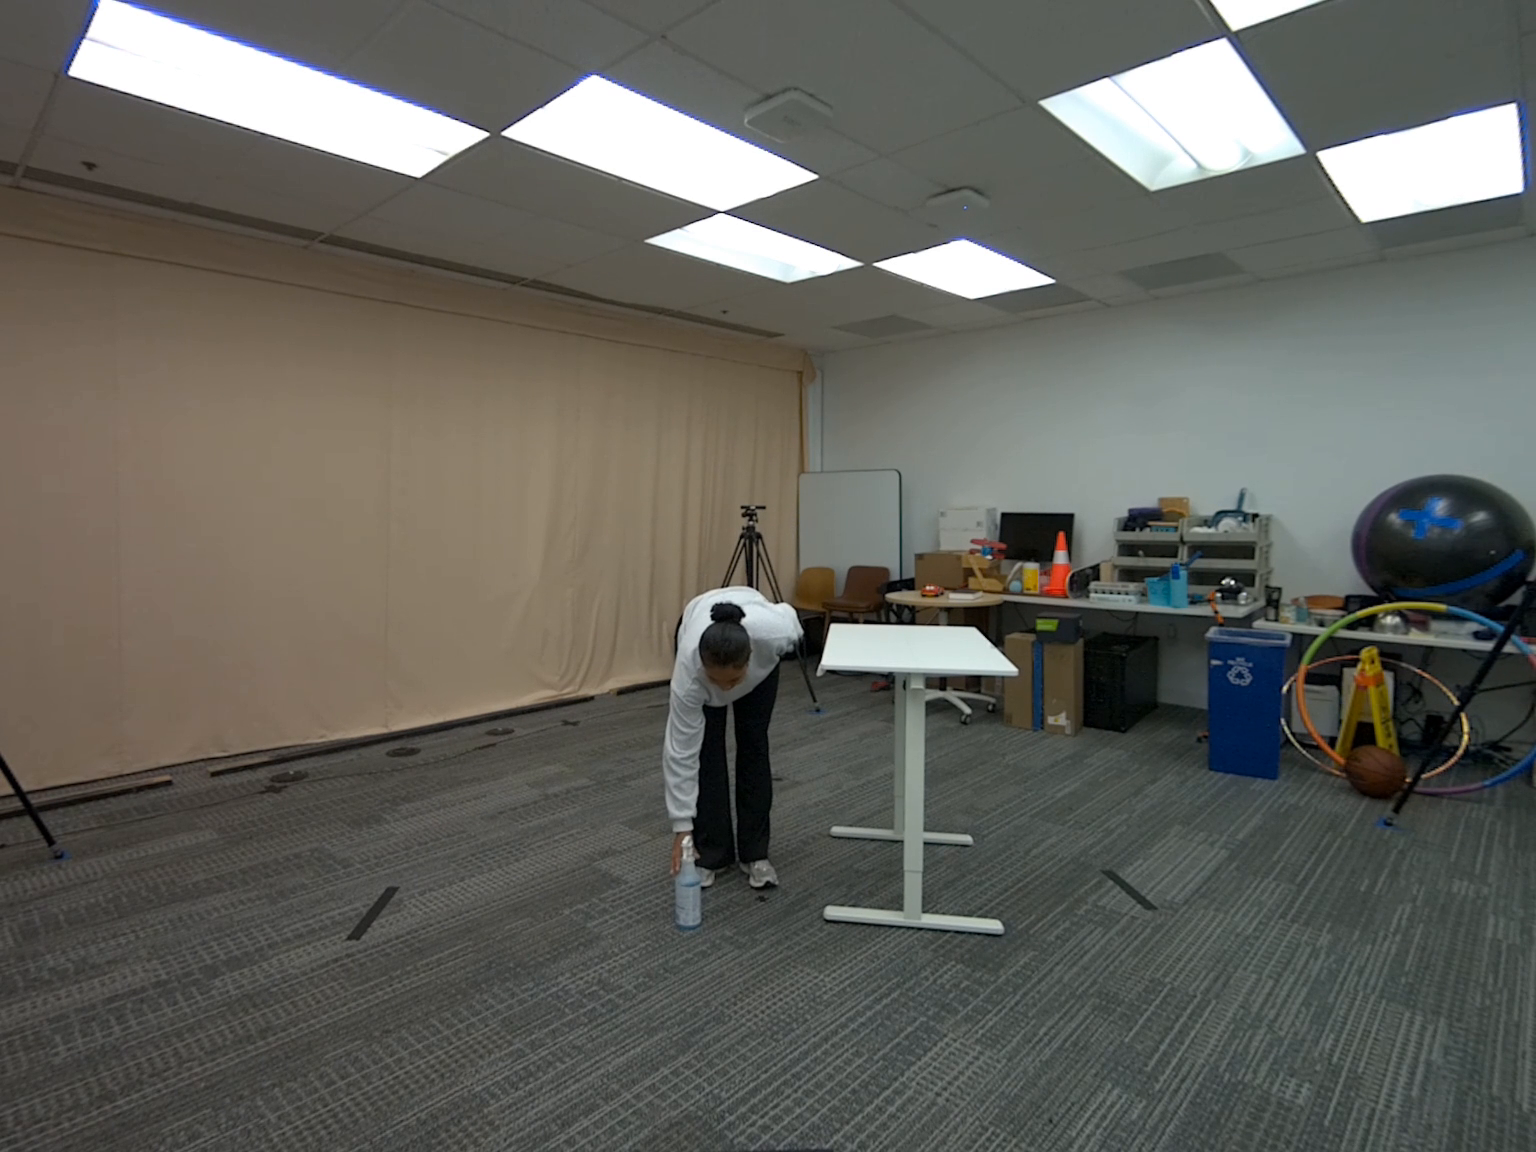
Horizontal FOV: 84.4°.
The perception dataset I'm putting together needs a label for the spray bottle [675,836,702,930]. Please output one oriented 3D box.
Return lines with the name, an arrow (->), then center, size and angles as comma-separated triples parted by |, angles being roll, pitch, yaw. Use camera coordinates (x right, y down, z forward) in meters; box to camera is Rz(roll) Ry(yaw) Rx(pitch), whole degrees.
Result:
spray bottle -> -0.266, 1.012, 2.799 | 0.090, 0.296, 0.087 | 4, 5, 33
